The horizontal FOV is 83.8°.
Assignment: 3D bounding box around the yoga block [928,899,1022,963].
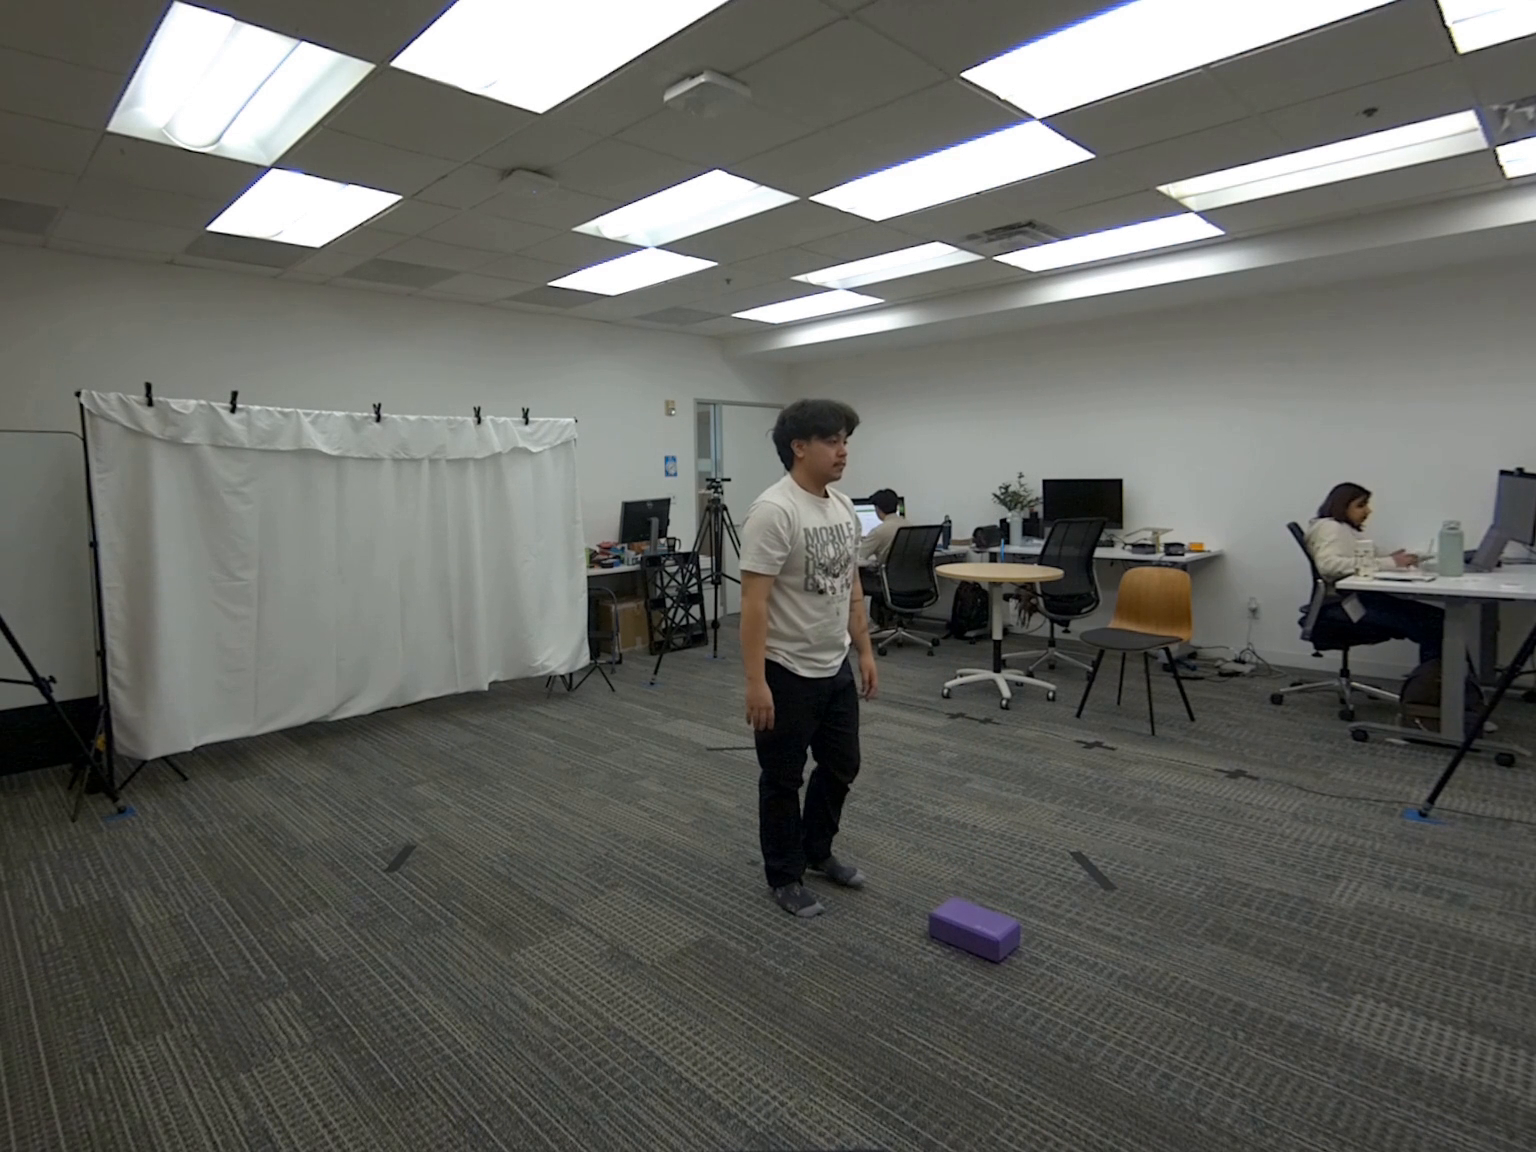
[{"bbox_3d":[0.621,1.054,2.556,0.236,0.076,0.145,5,8,43],"label":"yoga block"}]
